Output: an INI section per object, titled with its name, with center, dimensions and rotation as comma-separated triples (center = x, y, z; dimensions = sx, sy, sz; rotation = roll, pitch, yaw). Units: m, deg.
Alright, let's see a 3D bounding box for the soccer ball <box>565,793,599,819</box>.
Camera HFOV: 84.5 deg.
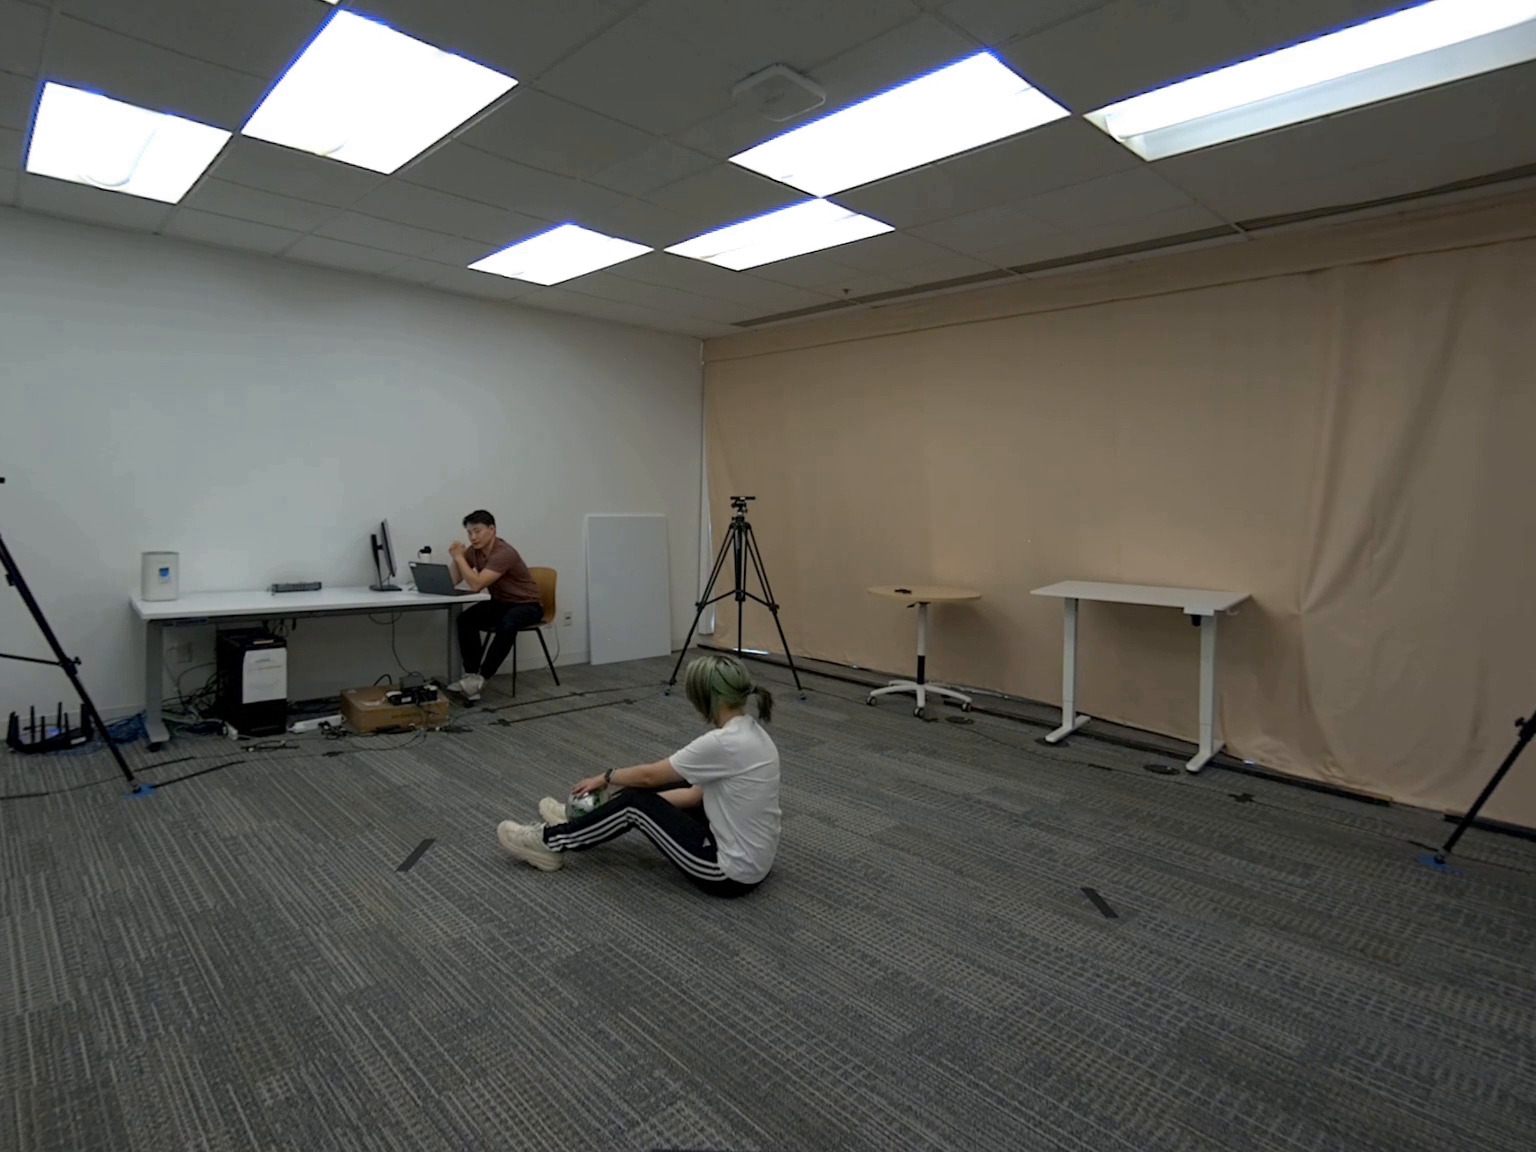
[soccer ball]
center = -0.672, 0.892, 3.213
dimensions = 0.187, 0.187, 0.188
rotation = 1, 4, -1
